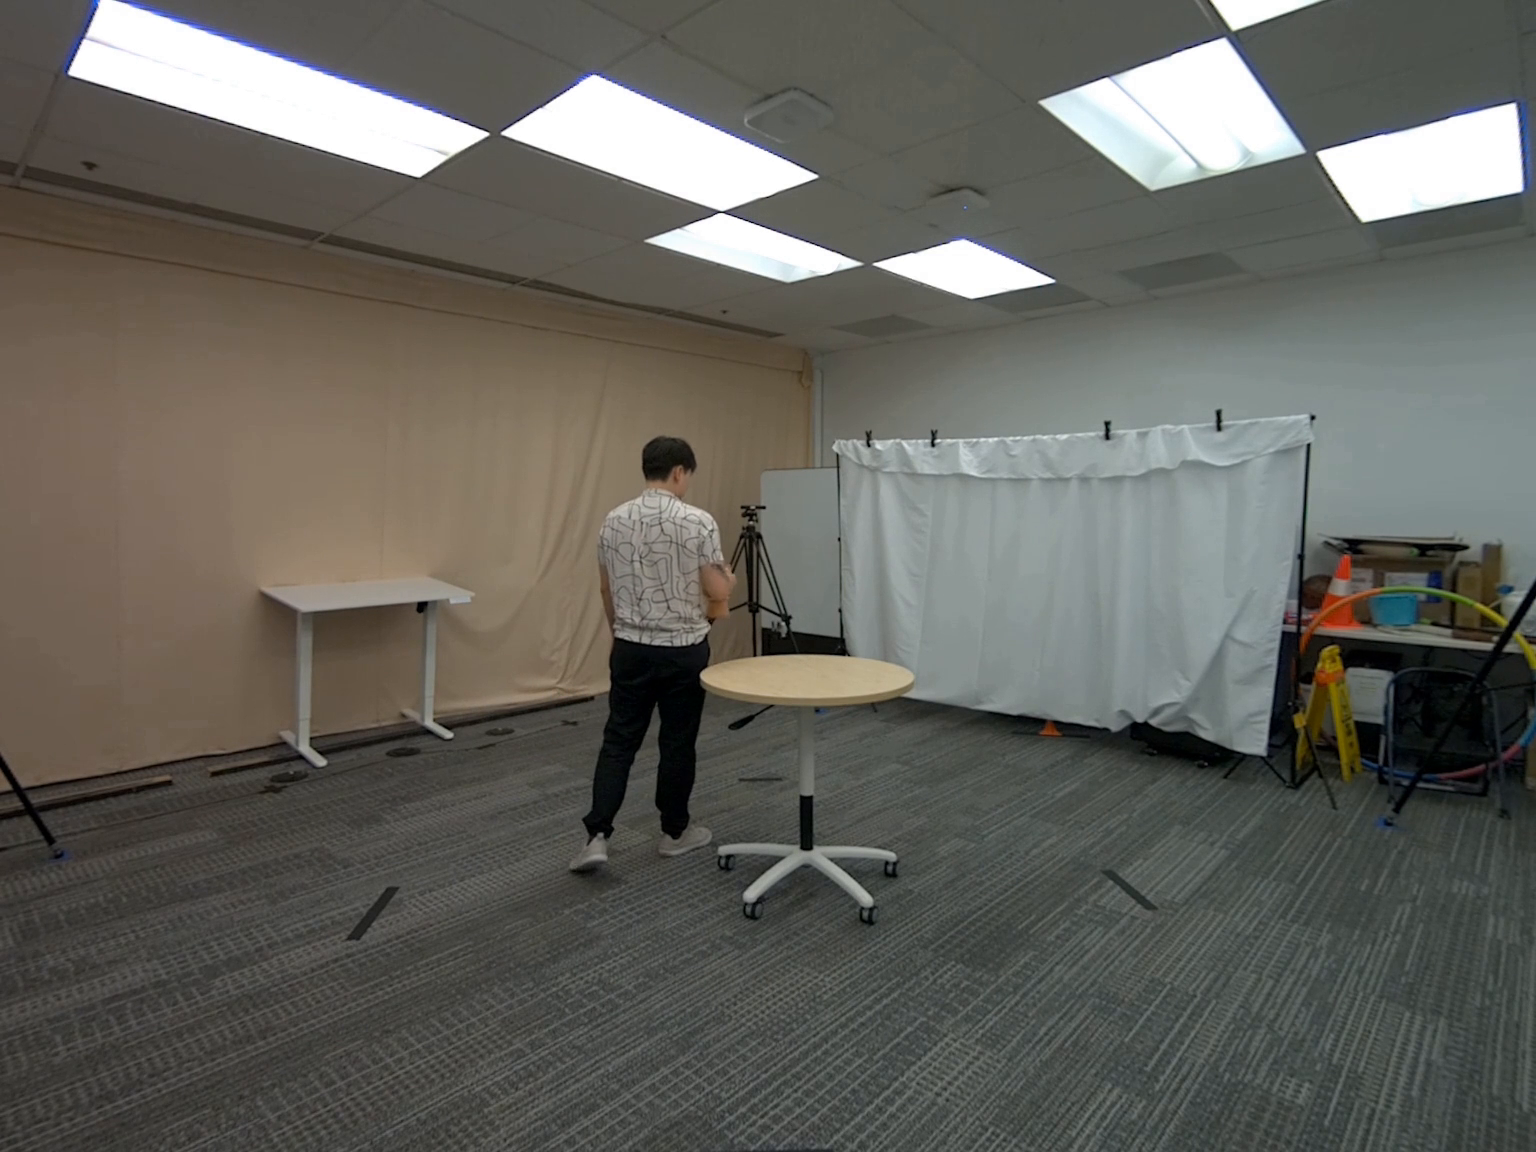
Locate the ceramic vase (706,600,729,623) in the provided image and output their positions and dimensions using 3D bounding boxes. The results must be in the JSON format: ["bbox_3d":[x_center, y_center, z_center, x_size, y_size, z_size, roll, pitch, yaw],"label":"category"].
[{"bbox_3d":[-0.224,0.067,3.591,0.136,0.220,0.157,-3,0,9],"label":"ceramic vase"}]
